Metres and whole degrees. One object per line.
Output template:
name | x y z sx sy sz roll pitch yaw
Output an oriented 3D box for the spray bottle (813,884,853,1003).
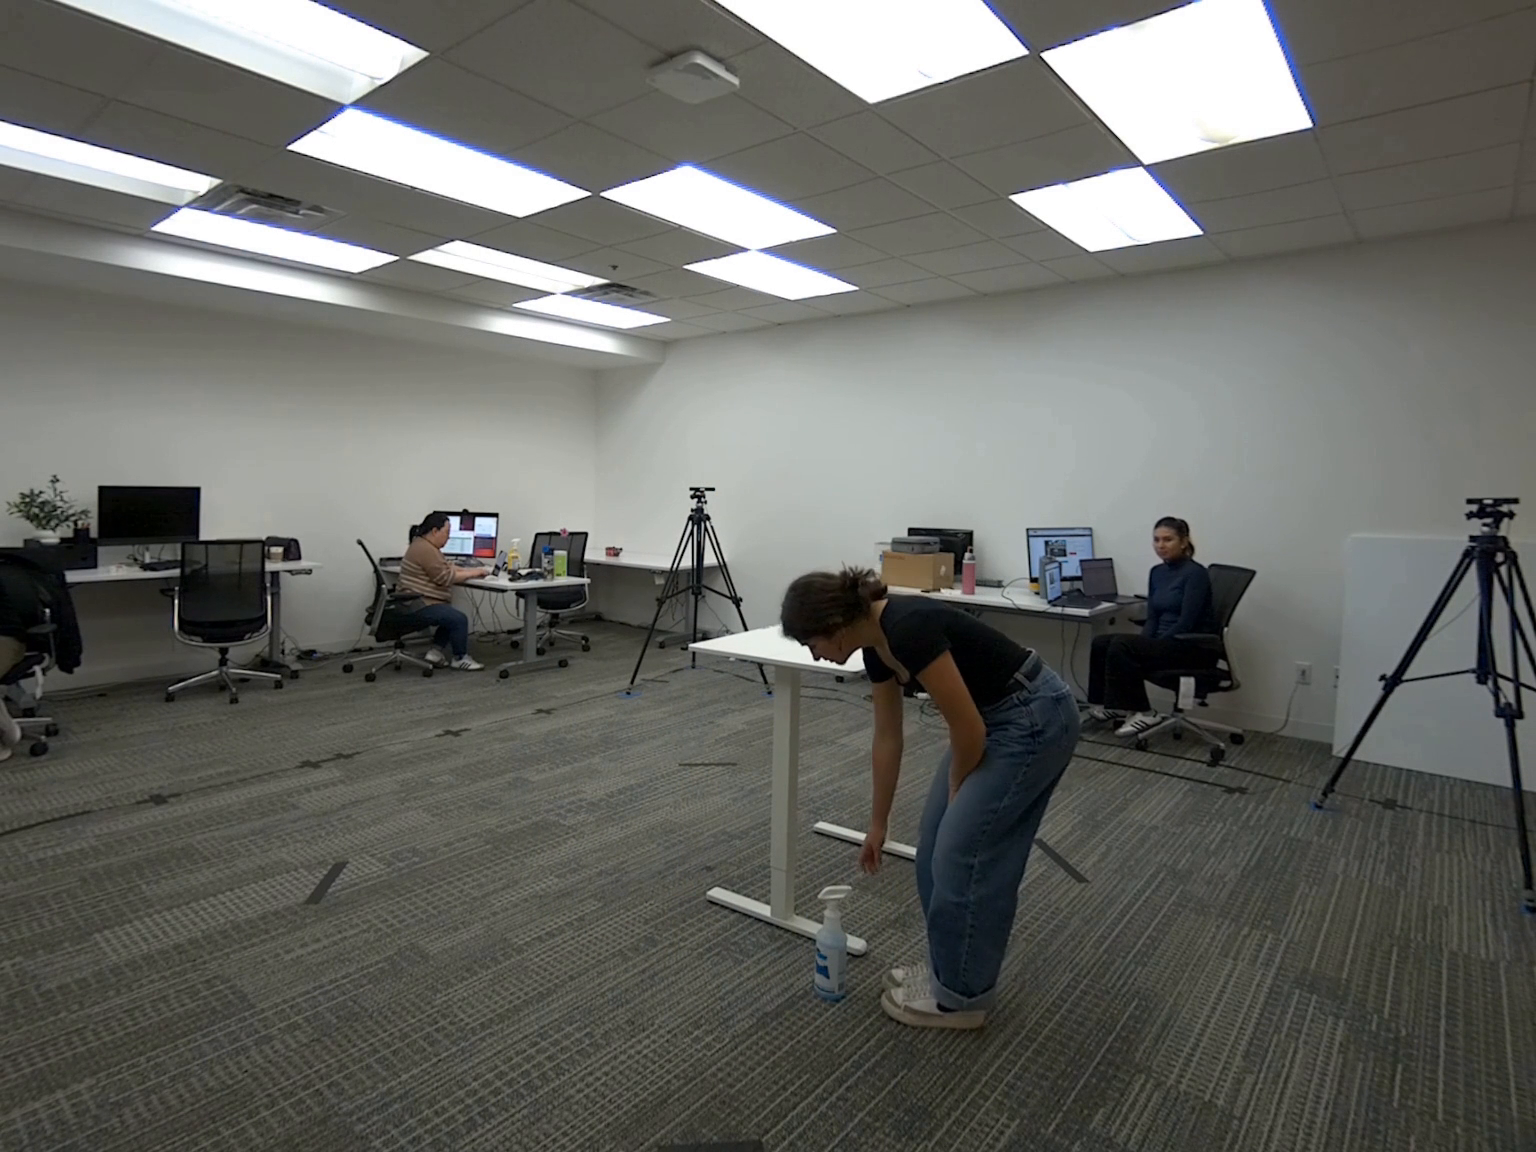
spray bottle | 0.171 1.005 2.352 0.092 0.296 0.085 3 3 20
